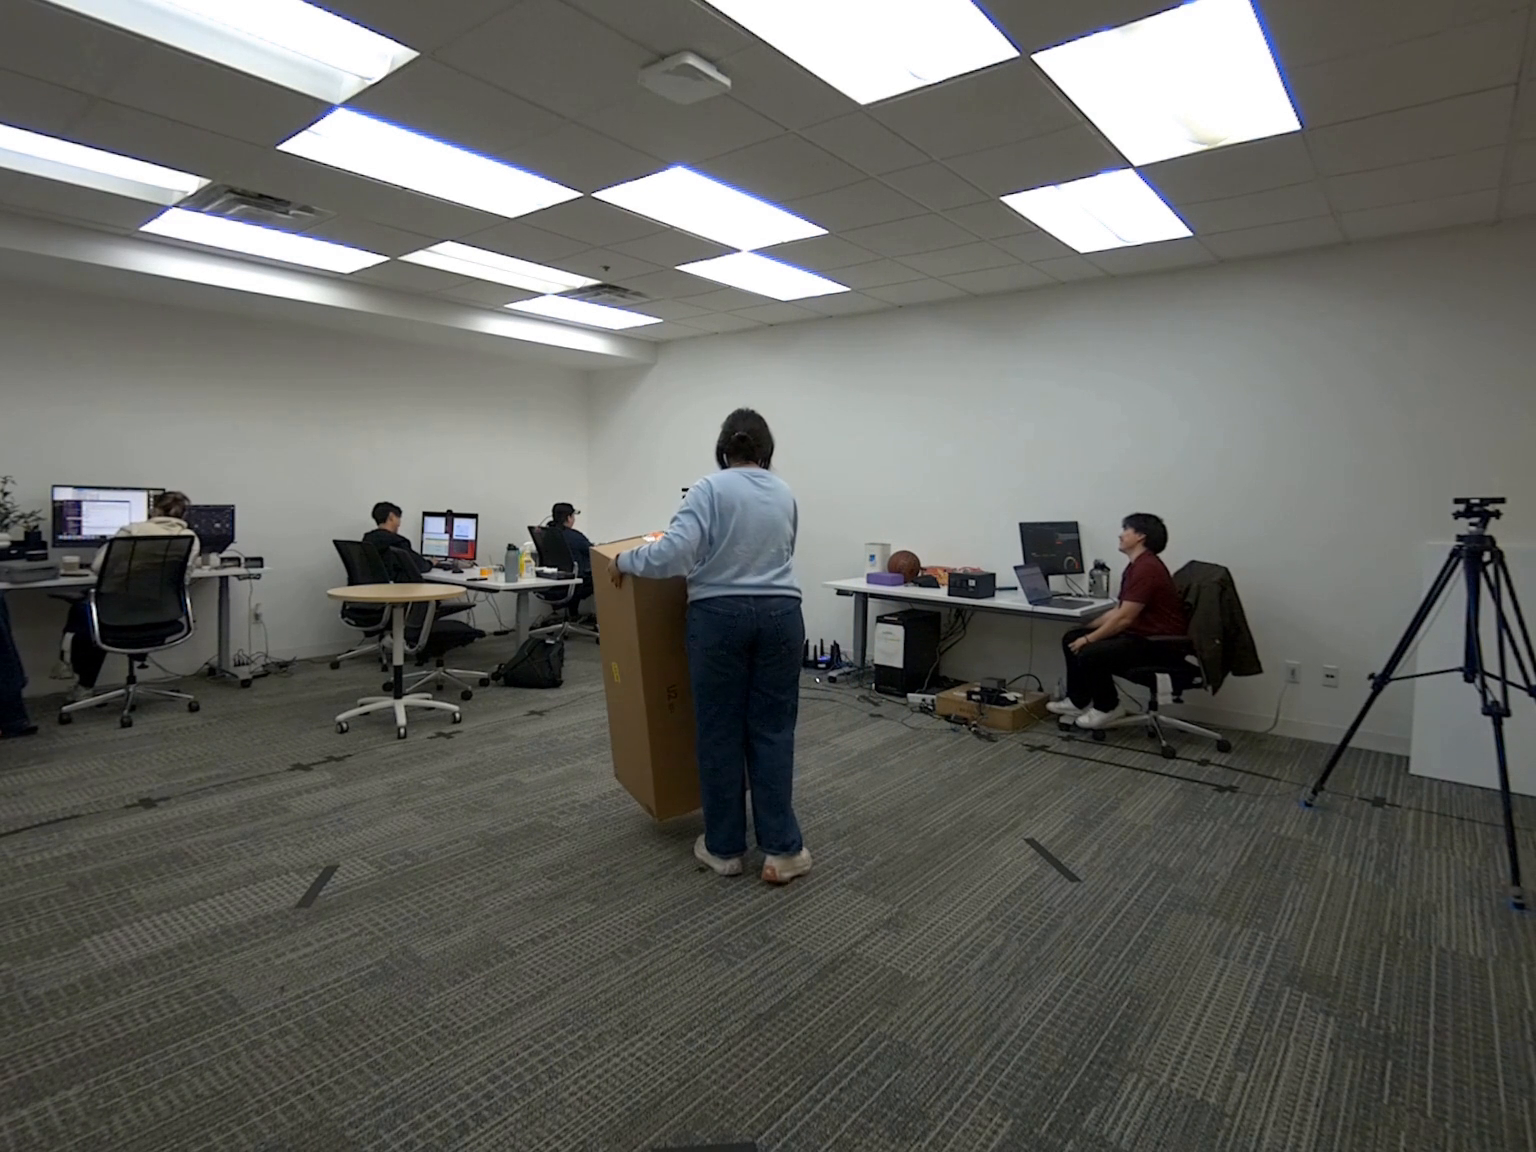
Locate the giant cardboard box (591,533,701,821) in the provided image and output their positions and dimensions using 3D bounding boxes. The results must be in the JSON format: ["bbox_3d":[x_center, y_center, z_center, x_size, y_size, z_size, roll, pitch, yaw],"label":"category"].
[{"bbox_3d":[-0.348,0.361,3.443,0.572,1.011,0.463,-12,17,-27],"label":"giant cardboard box"}]
